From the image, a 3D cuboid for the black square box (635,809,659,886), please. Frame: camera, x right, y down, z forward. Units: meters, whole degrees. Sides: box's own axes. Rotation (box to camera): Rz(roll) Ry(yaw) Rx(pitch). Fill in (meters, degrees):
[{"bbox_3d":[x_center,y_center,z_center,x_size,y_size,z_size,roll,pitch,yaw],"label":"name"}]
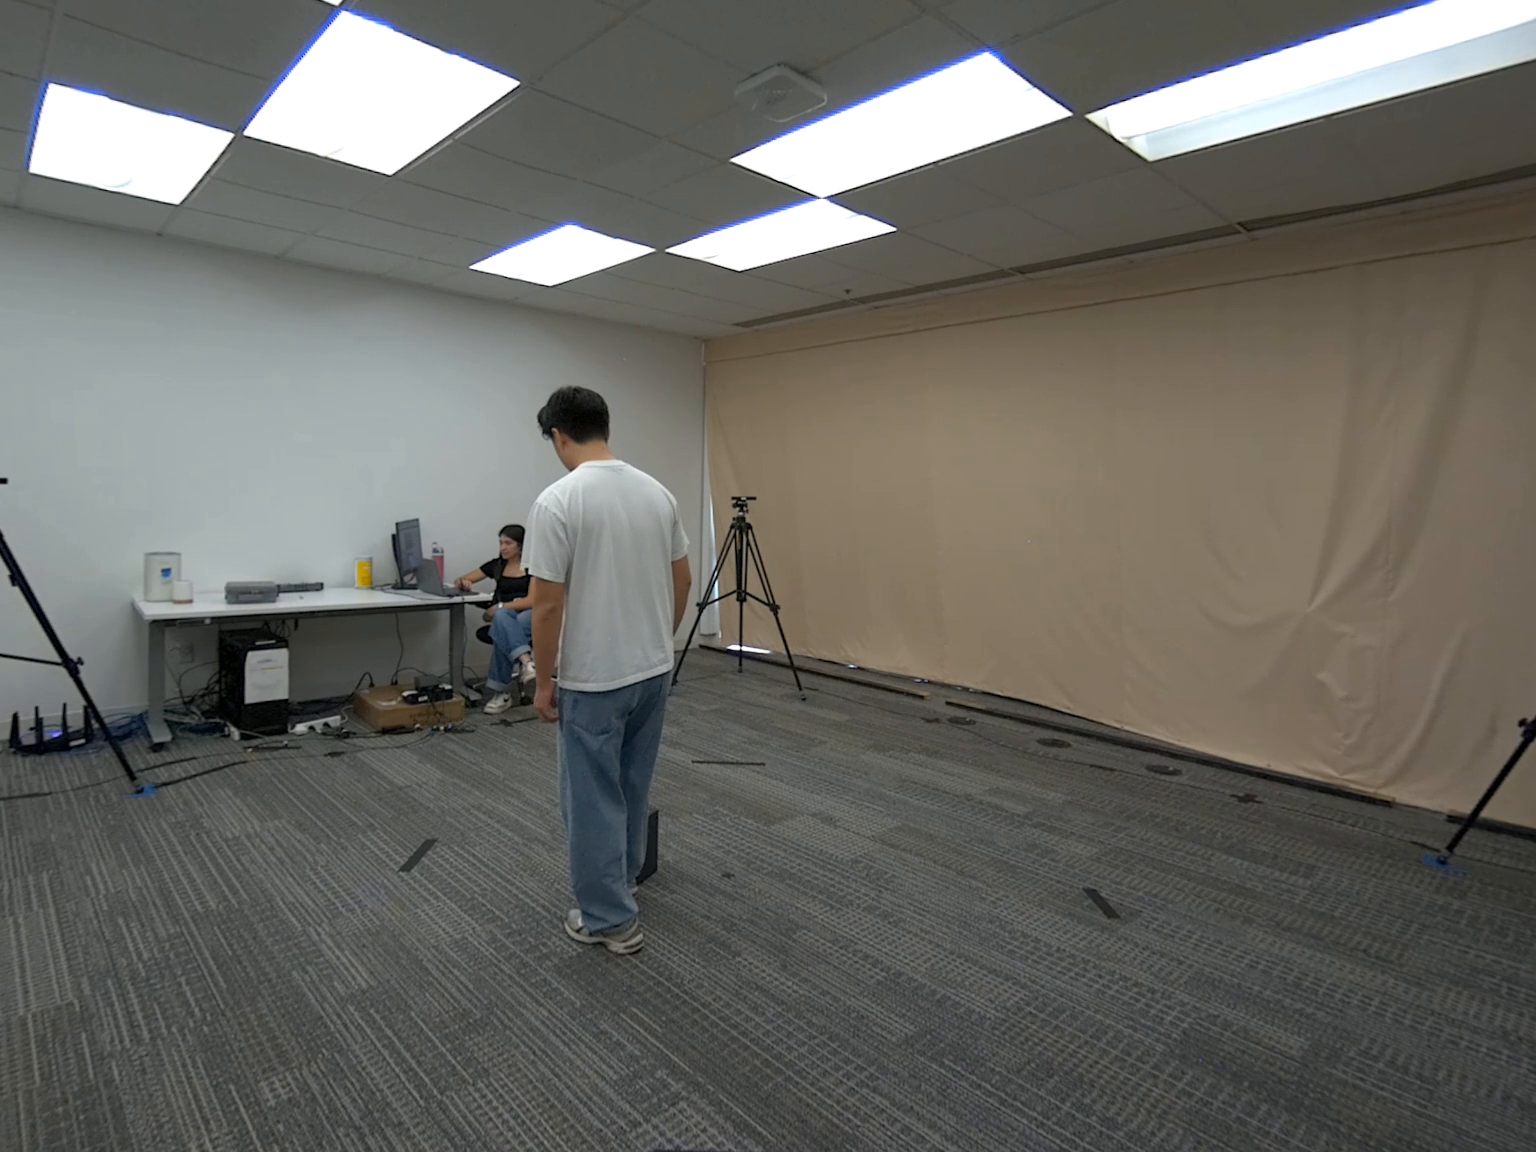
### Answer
[{"bbox_3d":[-0.536,0.981,3.104,0.221,0.227,0.153,3,4,23],"label":"black square box"}]
